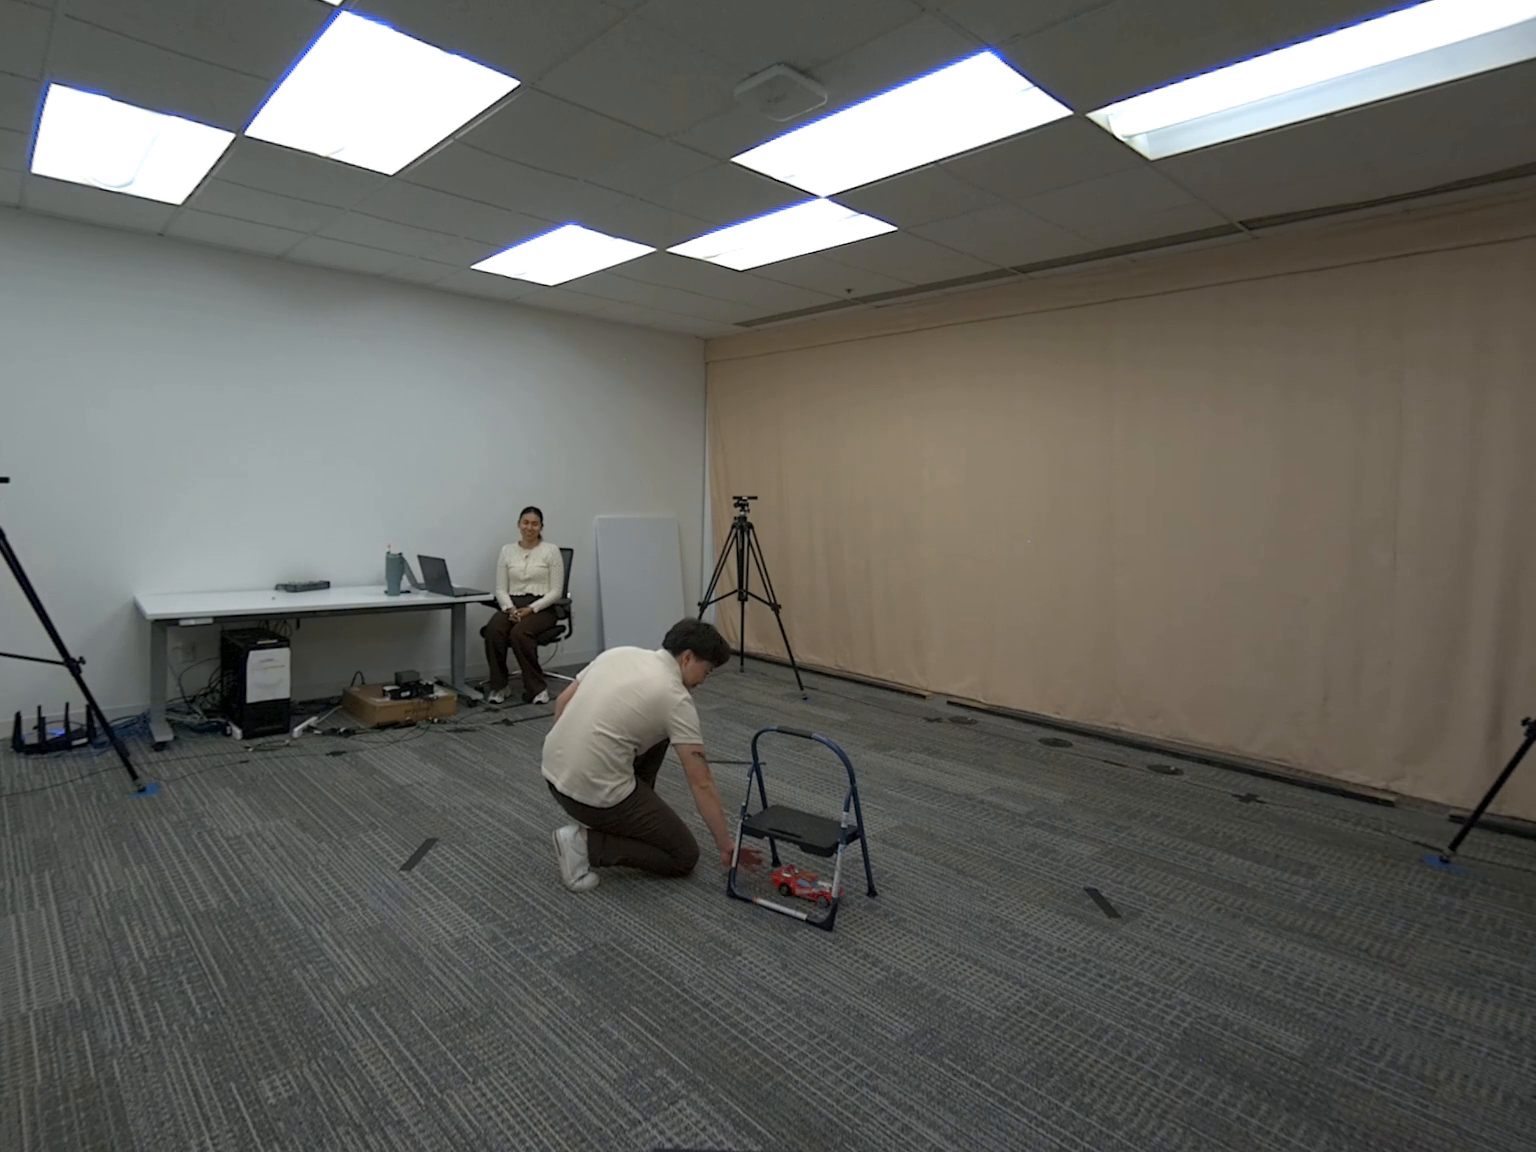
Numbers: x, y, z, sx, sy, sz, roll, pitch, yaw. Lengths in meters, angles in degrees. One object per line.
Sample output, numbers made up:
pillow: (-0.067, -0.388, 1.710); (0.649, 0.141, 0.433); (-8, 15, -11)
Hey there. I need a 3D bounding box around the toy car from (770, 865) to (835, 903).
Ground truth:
toy car: (0.114, 1.091, 2.963); (0.261, 0.083, 0.128); (18, 12, 30)
